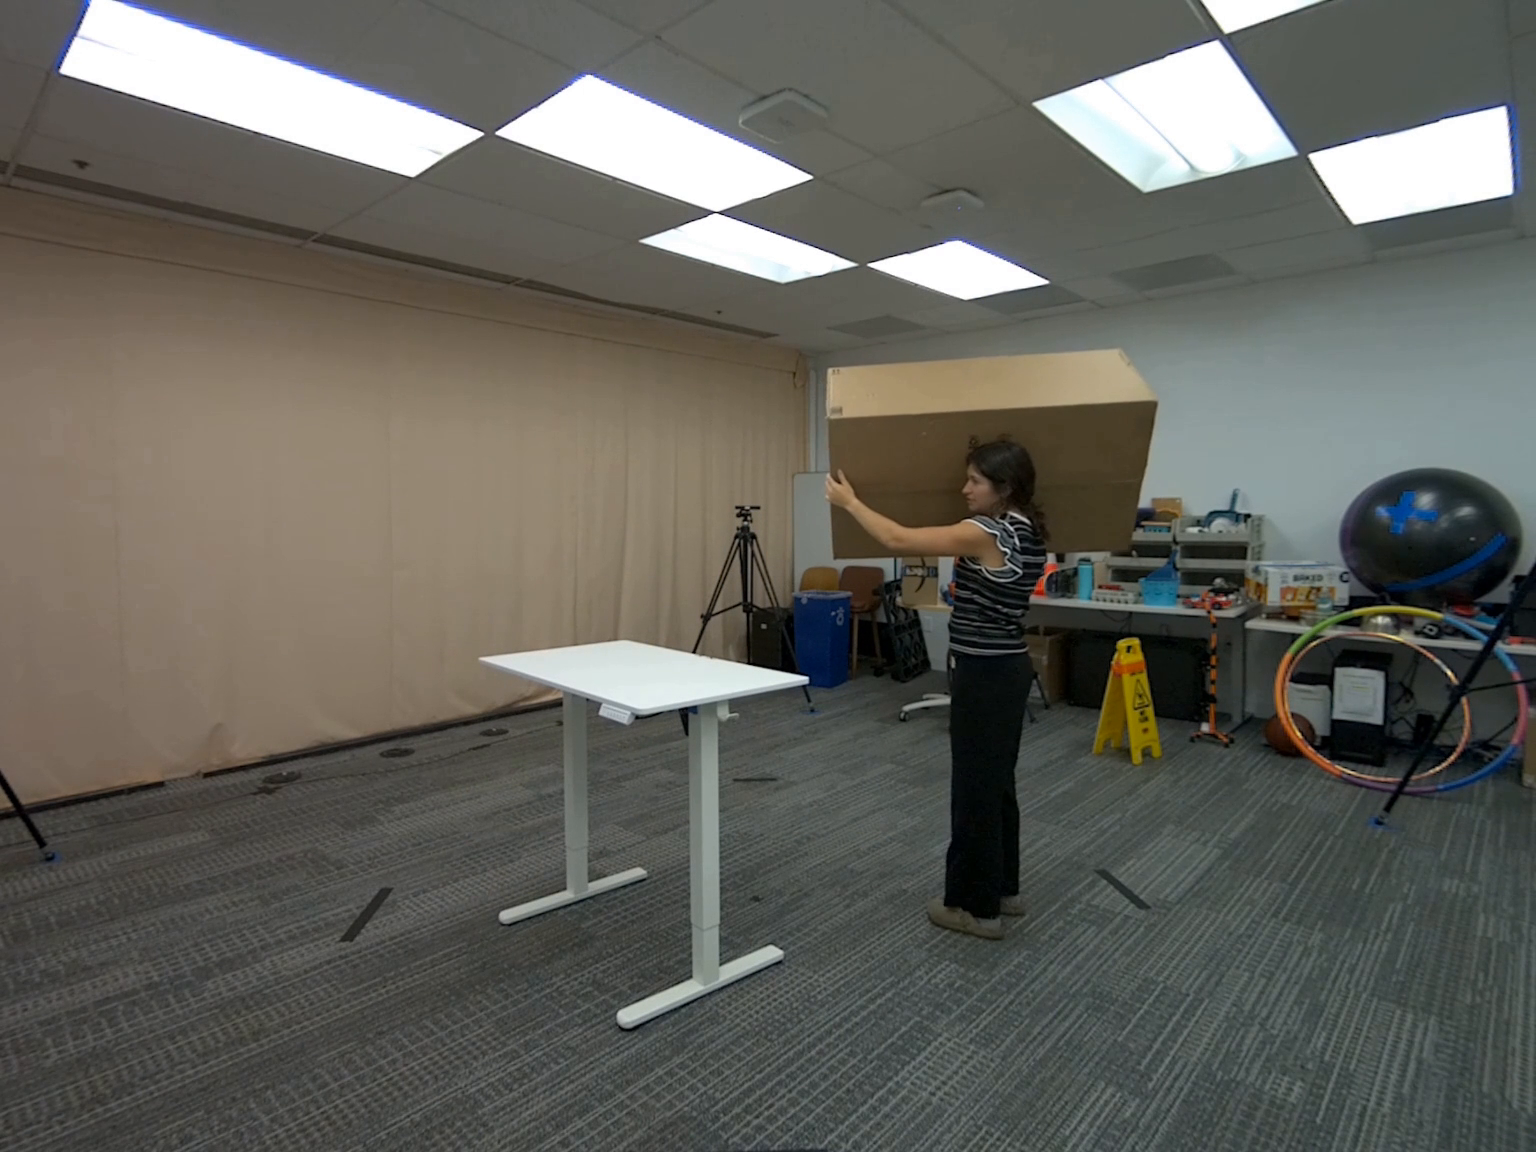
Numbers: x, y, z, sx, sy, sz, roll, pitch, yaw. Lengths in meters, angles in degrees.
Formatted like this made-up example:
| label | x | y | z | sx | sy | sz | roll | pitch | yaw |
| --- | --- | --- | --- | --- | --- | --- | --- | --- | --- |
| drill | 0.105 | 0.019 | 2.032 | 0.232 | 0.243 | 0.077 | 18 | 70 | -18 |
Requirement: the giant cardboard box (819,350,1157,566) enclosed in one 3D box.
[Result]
| label | x | y | z | sx | sy | sz | roll | pitch | yaw |
| --- | --- | --- | --- | --- | --- | --- | --- | --- | --- |
| giant cardboard box | 0.741 | -0.426 | 3.013 | 1.036 | 0.565 | 0.431 | -2 | 35 | 9 |
